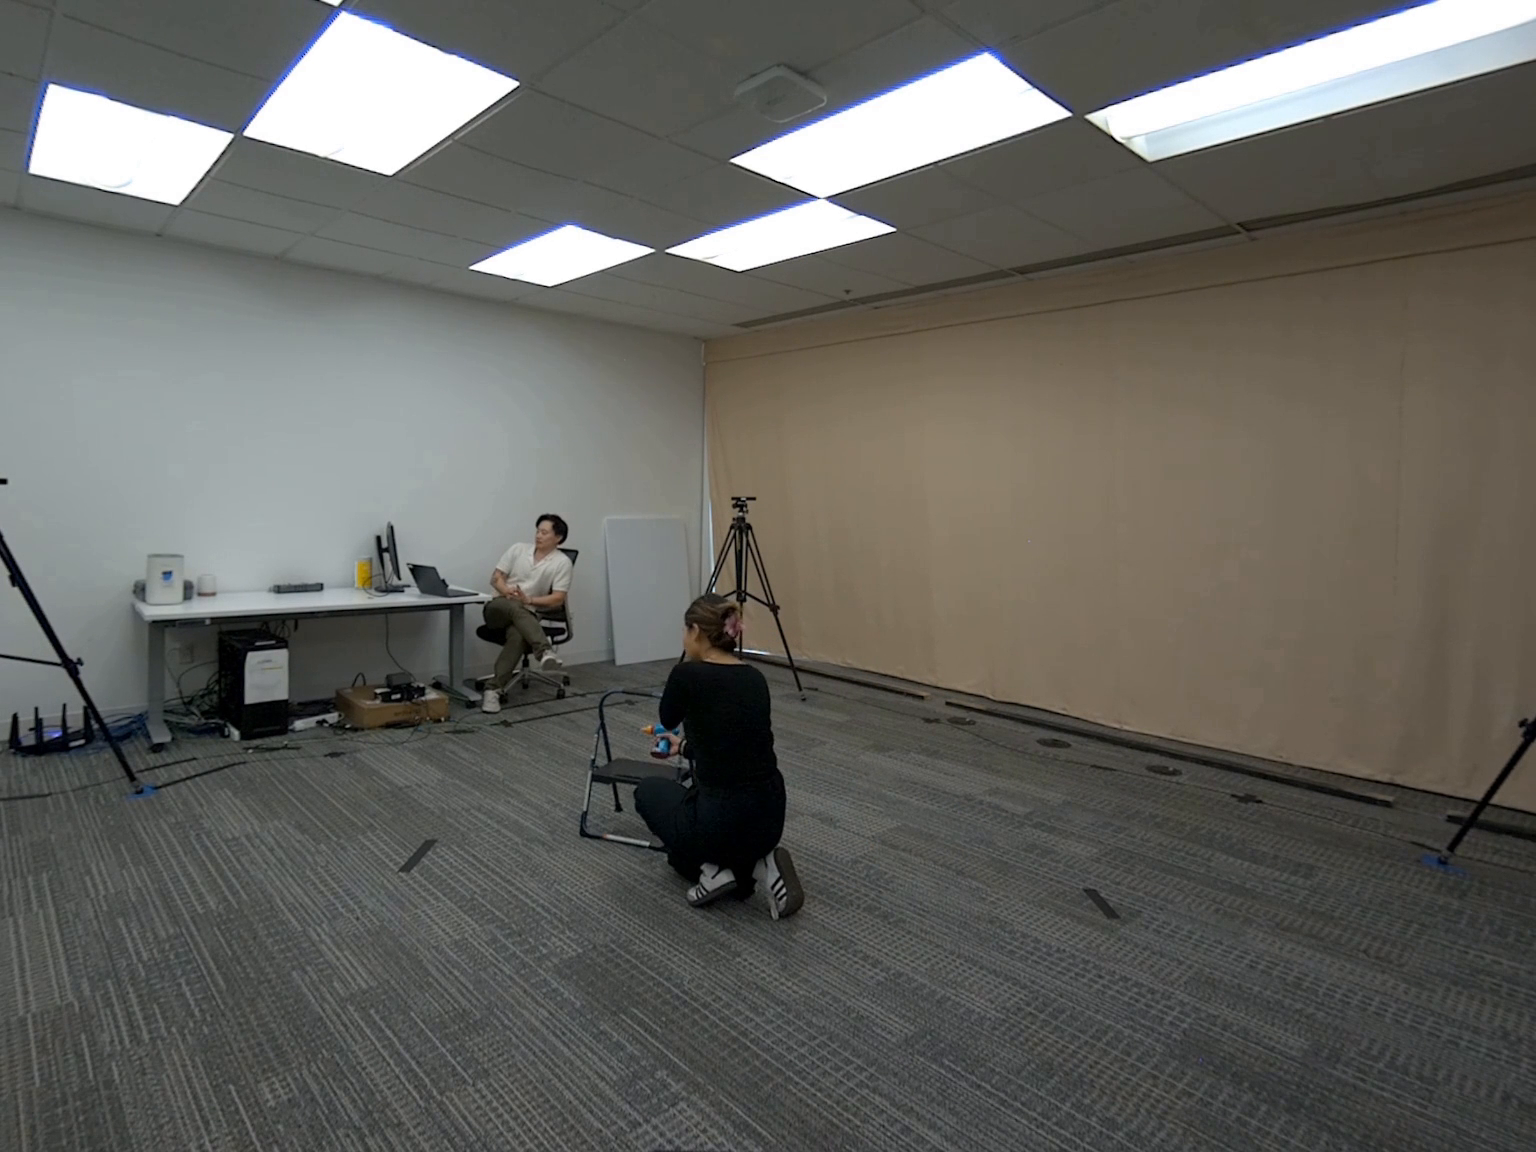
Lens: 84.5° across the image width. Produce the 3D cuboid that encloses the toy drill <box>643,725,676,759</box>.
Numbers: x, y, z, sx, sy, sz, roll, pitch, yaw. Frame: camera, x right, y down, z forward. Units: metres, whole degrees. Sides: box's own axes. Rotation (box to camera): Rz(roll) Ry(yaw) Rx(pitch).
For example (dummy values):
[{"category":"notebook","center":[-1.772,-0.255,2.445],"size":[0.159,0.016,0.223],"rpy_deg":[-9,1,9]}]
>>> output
[{"category":"toy drill","center":[-0.443,0.643,3.306],"size":[0.172,0.059,0.148],"rpy_deg":[2,45,16]}]
